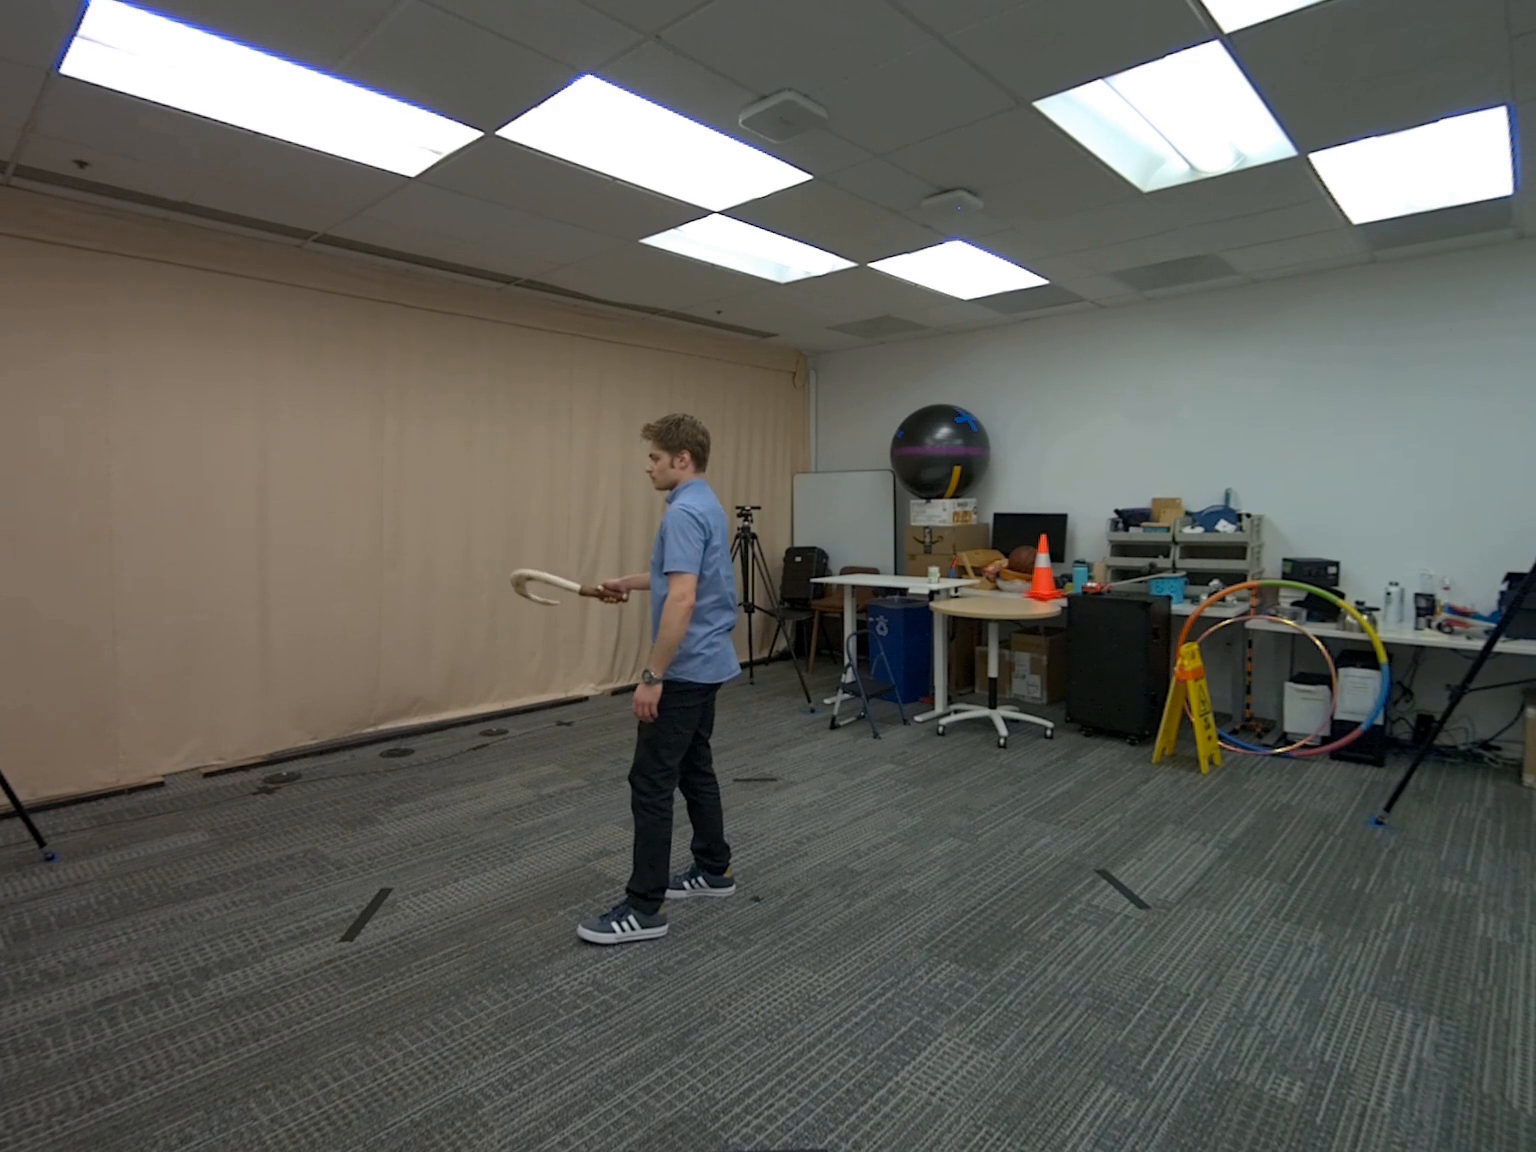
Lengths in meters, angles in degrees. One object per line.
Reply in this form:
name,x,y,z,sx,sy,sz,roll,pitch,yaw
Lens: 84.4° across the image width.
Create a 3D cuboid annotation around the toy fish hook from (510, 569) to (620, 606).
toy fish hook,-0.801,0.051,3.425,0.513,0.048,0.220,12,-34,10
